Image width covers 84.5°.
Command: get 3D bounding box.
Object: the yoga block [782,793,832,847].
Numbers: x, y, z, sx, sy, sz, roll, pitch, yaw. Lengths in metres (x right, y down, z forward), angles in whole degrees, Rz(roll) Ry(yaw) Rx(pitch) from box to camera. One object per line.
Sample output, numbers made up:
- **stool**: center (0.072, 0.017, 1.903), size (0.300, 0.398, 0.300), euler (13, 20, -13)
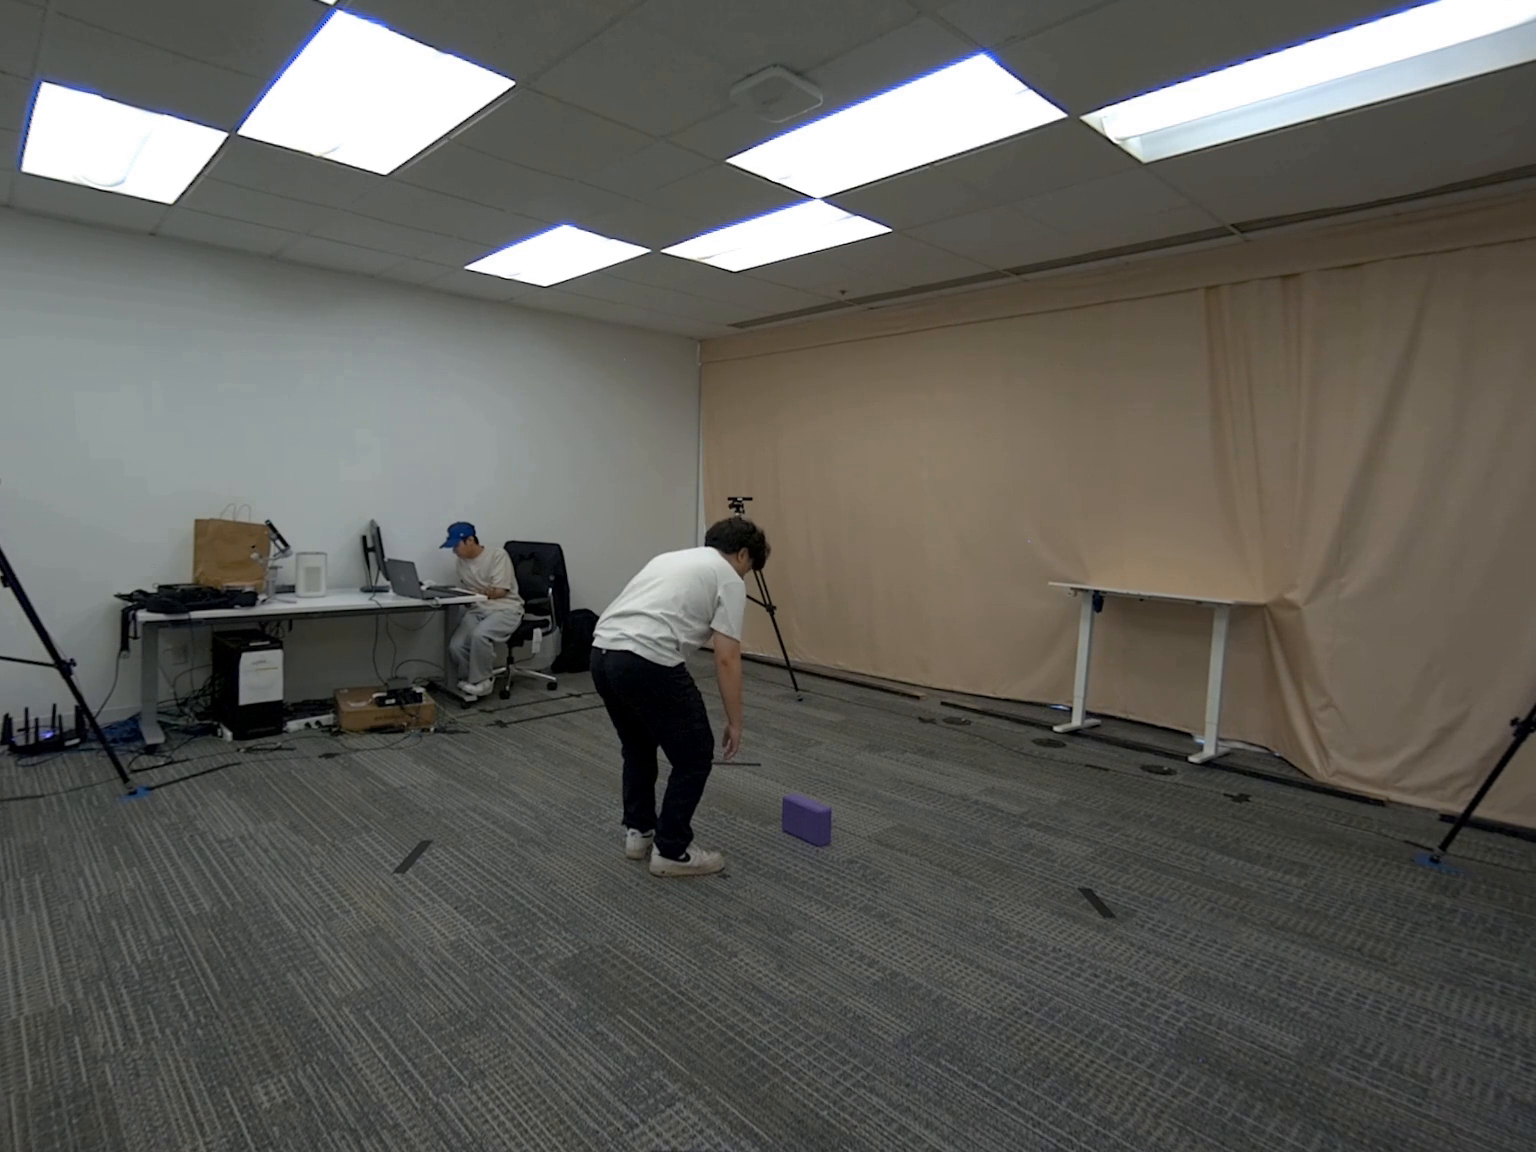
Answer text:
- **yoga block**: center (0.150, 1.007, 3.489), size (0.075, 0.148, 0.235), euler (-2, 6, -40)
